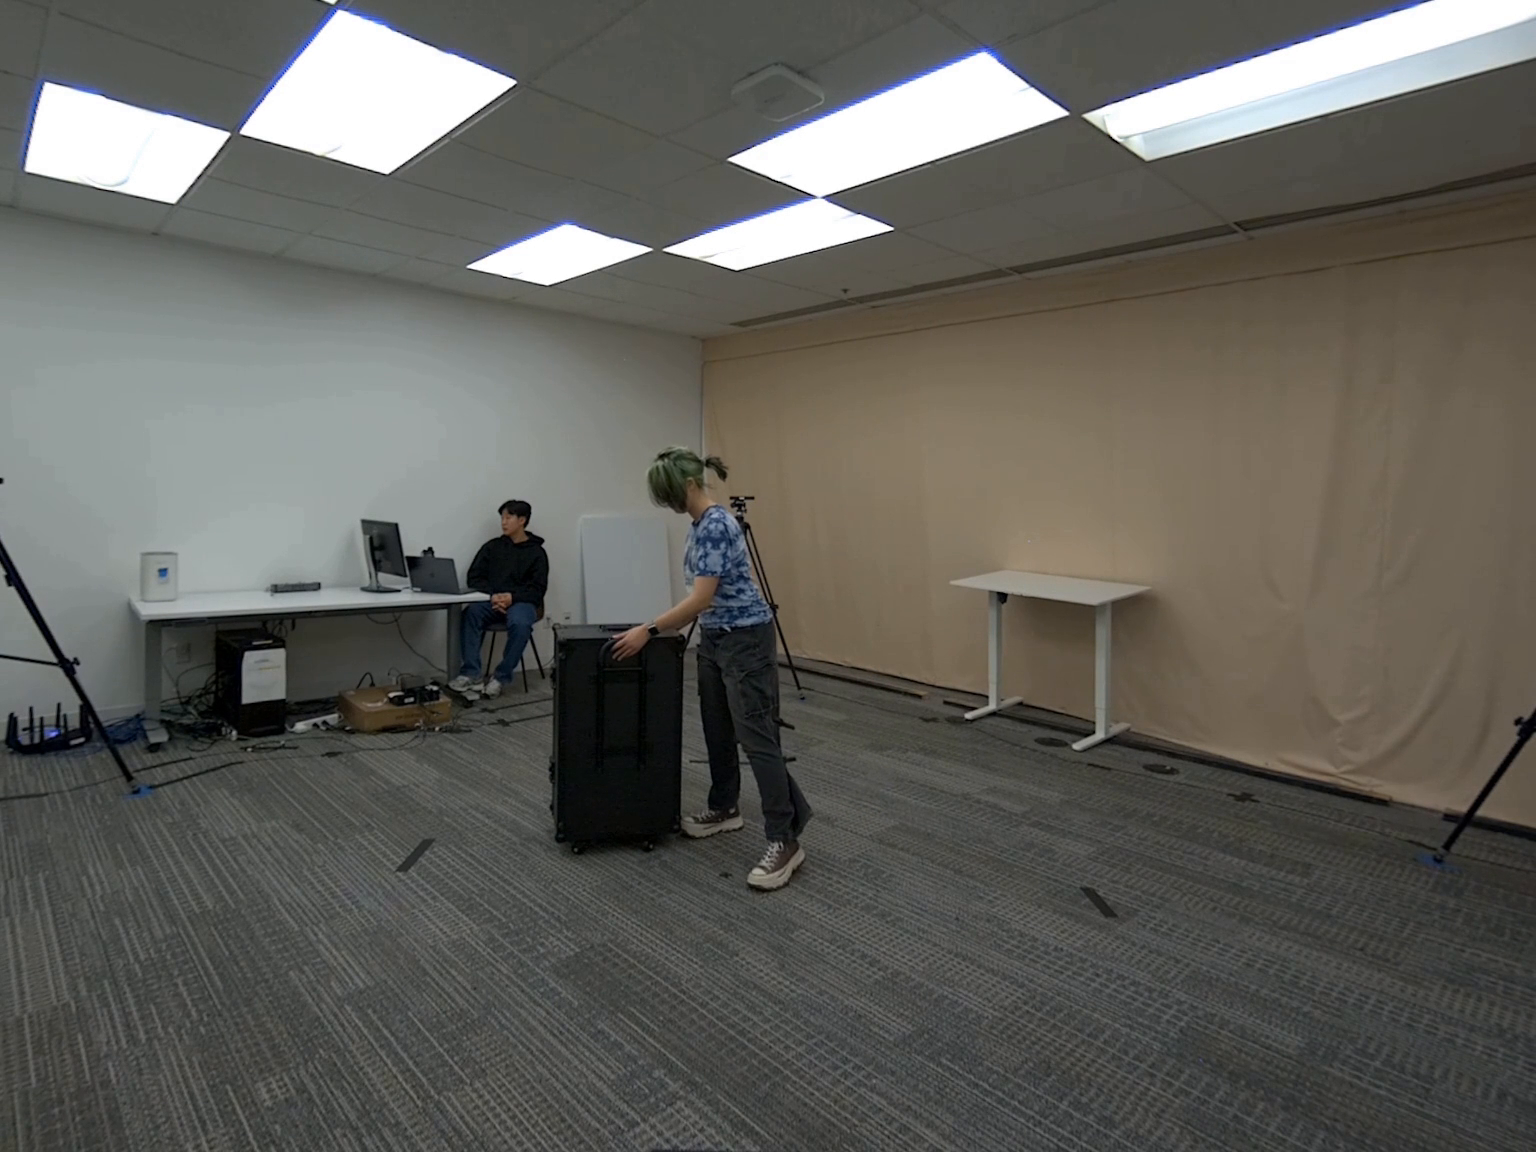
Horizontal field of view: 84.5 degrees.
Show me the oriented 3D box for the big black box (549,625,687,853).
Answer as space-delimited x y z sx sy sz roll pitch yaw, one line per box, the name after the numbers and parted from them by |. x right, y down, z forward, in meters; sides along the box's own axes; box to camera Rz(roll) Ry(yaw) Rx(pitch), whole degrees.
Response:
-0.624 0.641 3.383 0.515 0.859 0.402 0 4 -14 | big black box
